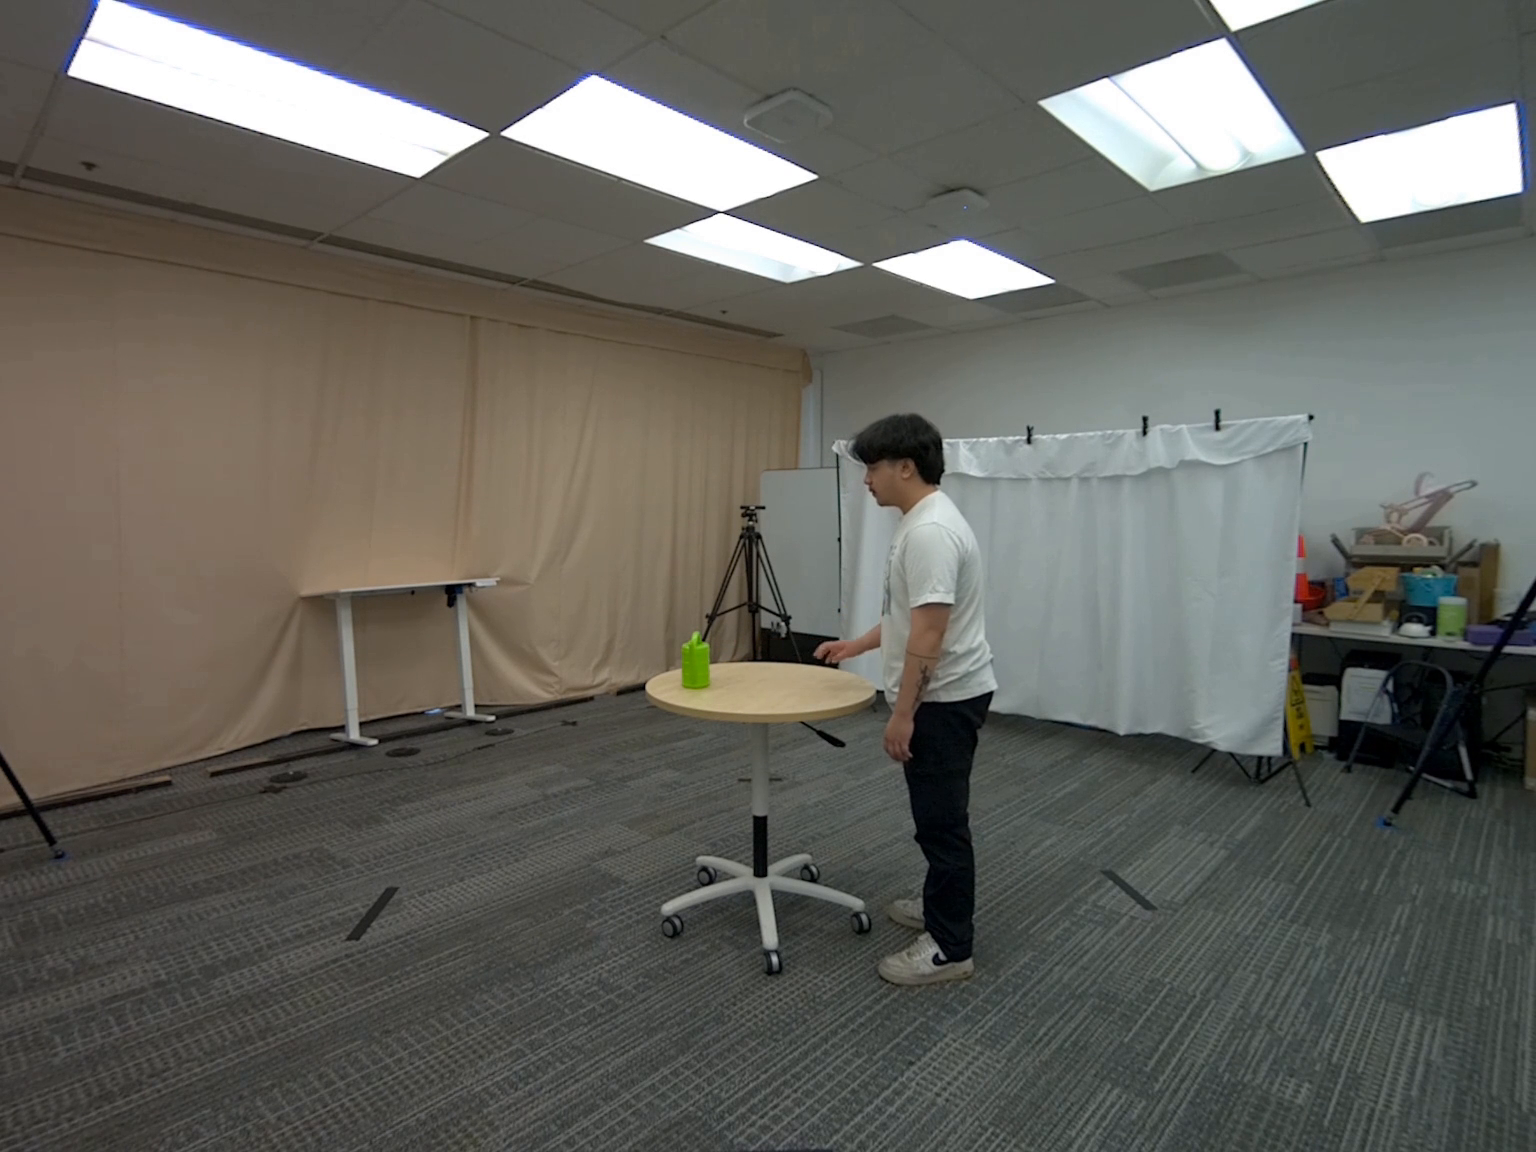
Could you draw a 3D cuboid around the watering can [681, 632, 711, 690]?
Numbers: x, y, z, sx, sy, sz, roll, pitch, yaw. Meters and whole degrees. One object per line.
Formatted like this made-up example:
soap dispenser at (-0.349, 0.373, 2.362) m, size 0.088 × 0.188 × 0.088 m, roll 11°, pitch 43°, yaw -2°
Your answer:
watering can at (-0.253, 0.289, 2.771) m, size 0.100 × 0.176 × 0.273 m, roll -2°, pitch 4°, yaw 22°
